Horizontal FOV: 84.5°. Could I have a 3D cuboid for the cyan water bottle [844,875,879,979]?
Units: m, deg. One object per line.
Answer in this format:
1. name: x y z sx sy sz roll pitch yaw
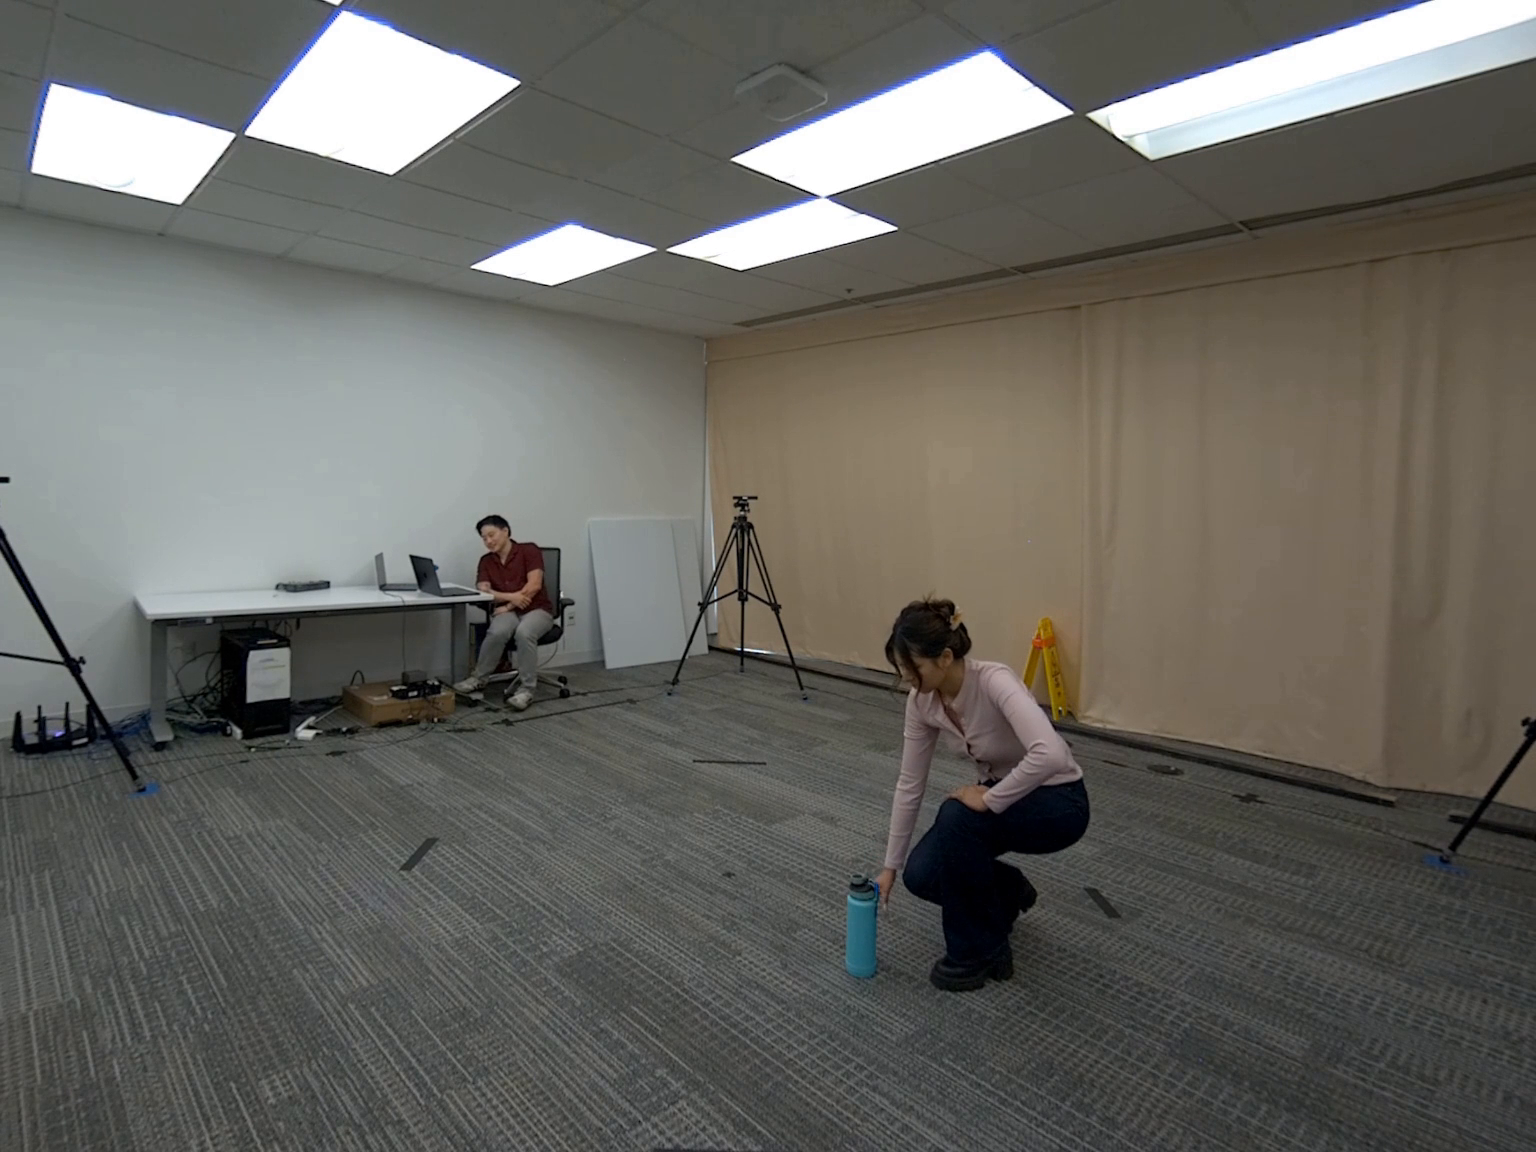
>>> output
1. cyan water bottle: 0.276 1.027 2.489 0.092 0.282 0.093 3 5 -2
